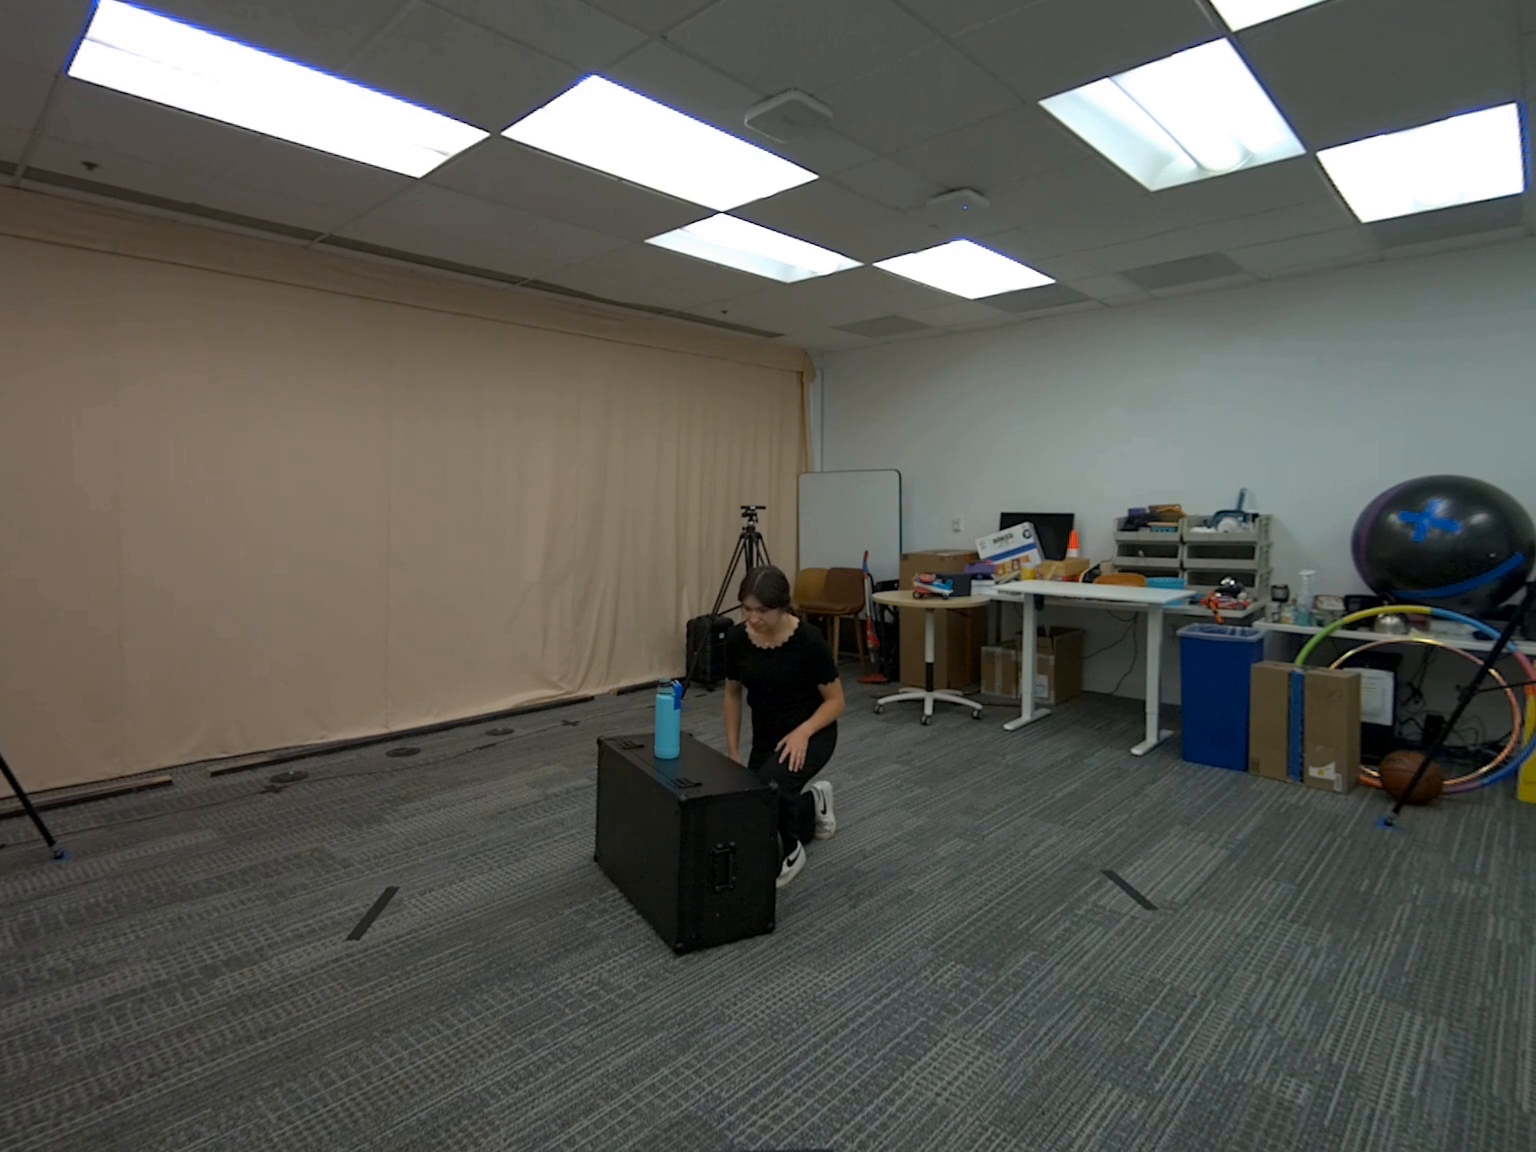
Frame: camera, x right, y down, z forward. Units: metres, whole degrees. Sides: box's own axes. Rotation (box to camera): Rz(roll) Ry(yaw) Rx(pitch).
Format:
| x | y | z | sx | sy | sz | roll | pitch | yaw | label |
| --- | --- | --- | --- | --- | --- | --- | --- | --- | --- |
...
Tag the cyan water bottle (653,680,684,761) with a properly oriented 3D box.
| x | y | z | sx | sy | sz | roll | pitch | yaw | label |
| --- | --- | --- | --- | --- | --- | --- | --- | --- | --- |
| -0.363 | 0.512 | 3.053 | 0.092 | 0.283 | 0.092 | 2 | 3 | -2 | cyan water bottle |
